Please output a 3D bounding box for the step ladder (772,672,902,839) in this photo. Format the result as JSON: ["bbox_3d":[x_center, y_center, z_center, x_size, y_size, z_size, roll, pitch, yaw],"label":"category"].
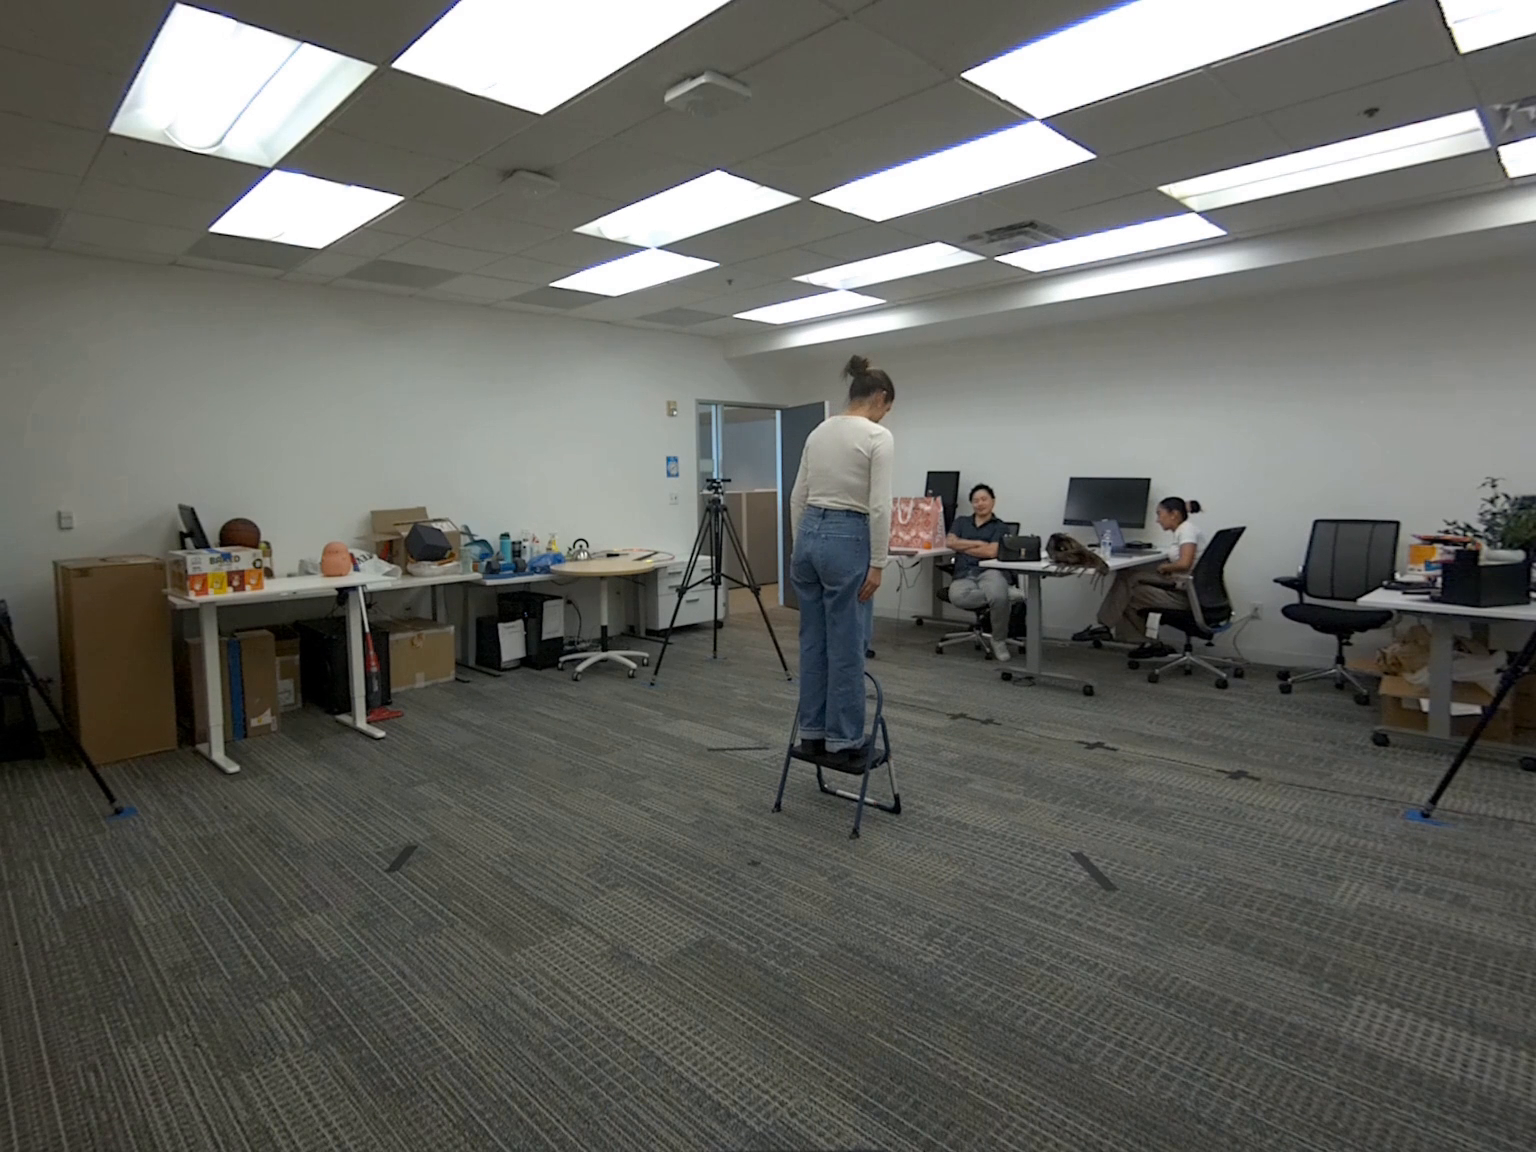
[{"bbox_3d":[0.290,0.687,3.551,0.444,0.604,0.340,4,5,42],"label":"step ladder"}]
